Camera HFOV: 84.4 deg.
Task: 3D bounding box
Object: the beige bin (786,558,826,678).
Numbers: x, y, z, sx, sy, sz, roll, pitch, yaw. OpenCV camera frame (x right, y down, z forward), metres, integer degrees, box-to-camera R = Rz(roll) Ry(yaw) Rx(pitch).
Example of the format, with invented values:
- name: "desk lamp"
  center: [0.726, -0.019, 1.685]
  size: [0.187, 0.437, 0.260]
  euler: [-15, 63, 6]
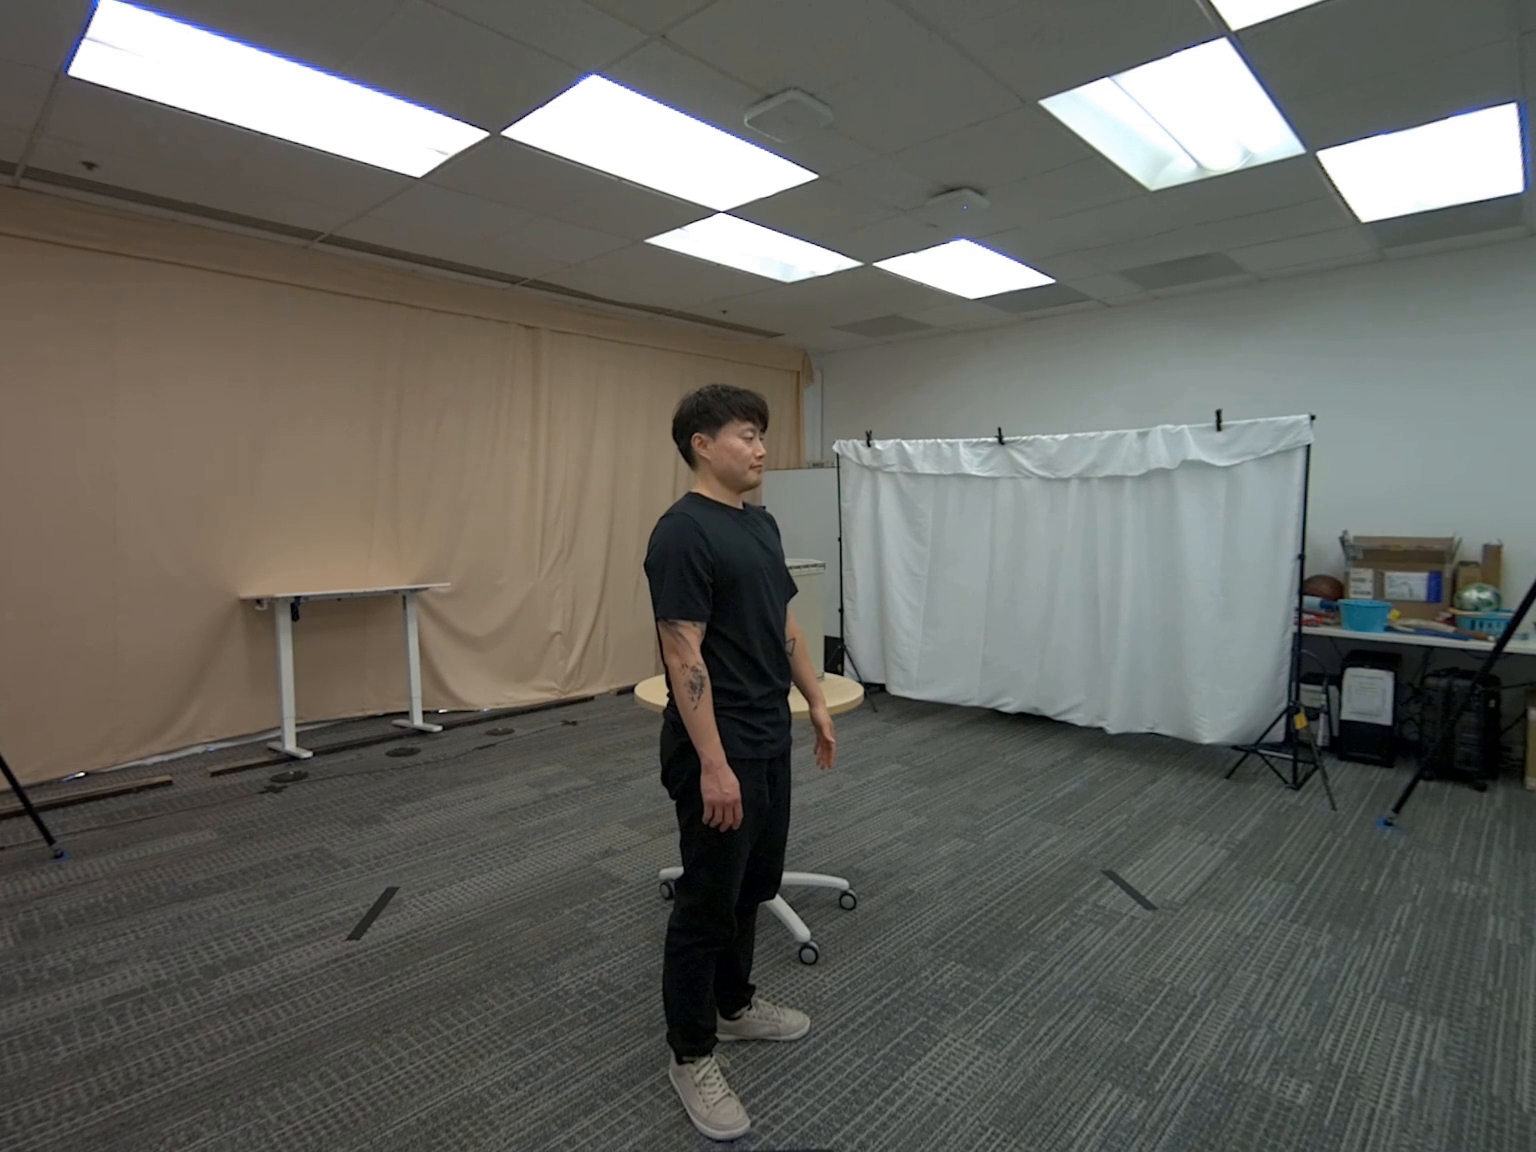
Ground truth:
- name: "beige bin"
  center: [0.047, 0.160, 2.871]
  size: [0.195, 0.421, 0.366]
  euler: [4, 4, 36]
